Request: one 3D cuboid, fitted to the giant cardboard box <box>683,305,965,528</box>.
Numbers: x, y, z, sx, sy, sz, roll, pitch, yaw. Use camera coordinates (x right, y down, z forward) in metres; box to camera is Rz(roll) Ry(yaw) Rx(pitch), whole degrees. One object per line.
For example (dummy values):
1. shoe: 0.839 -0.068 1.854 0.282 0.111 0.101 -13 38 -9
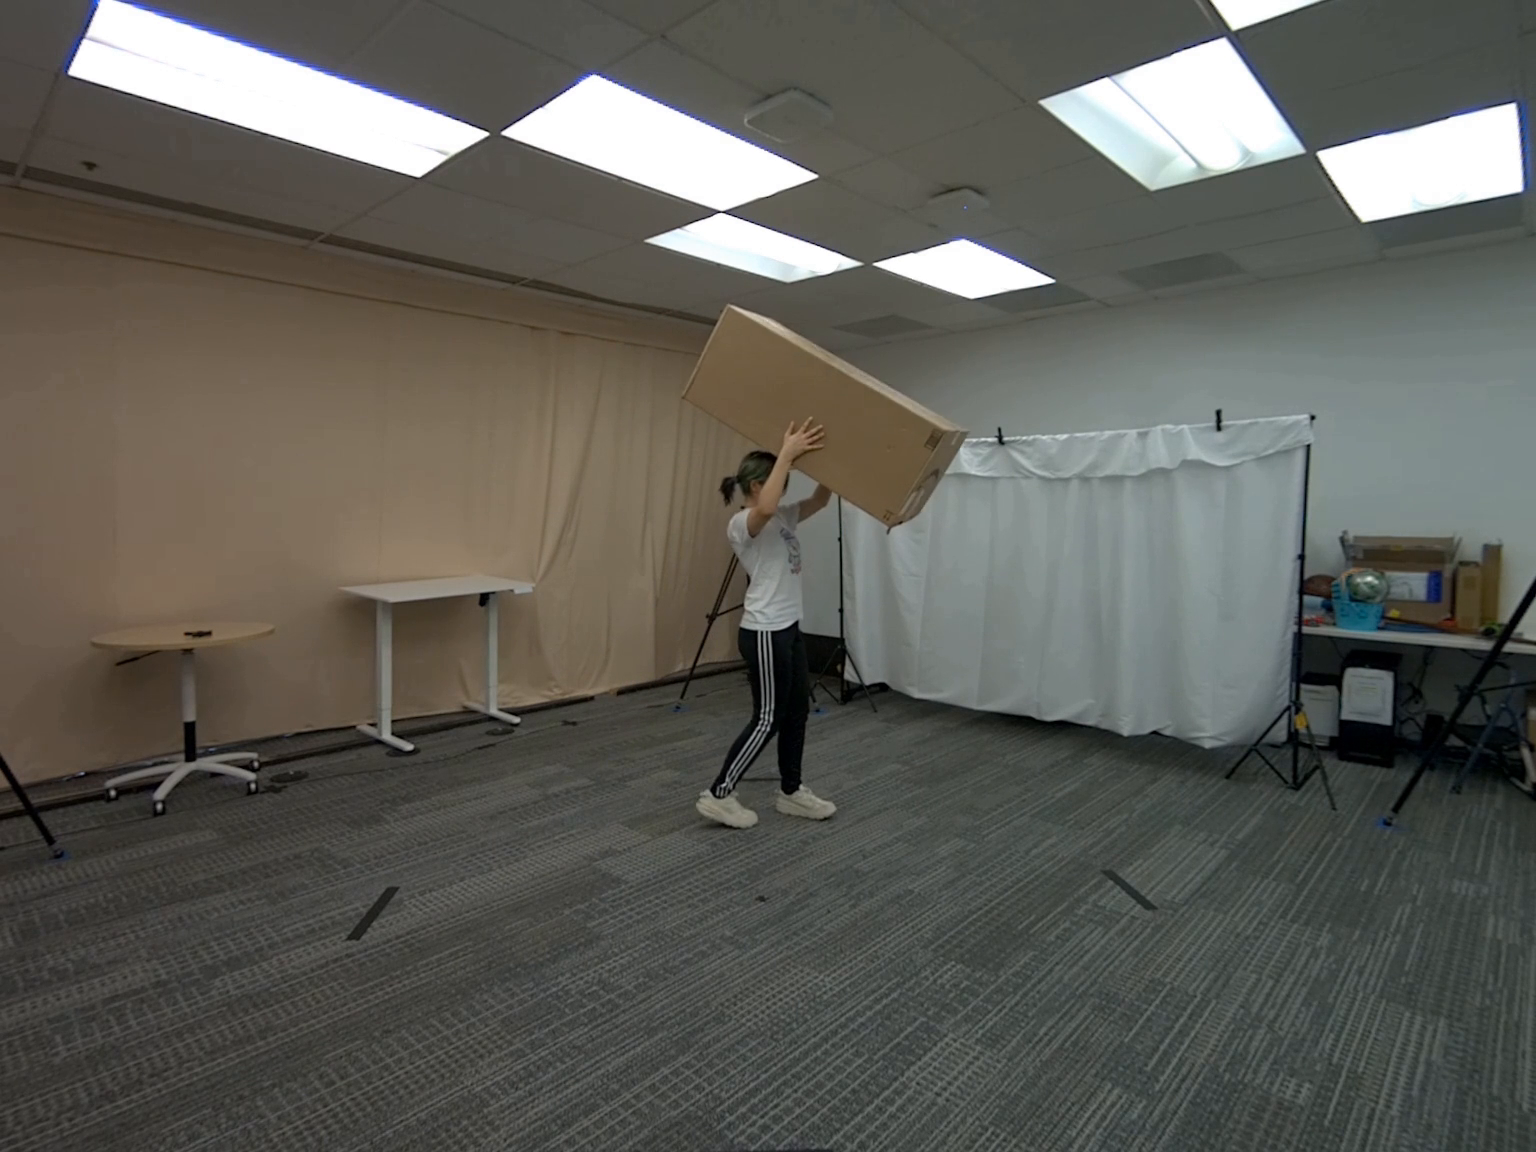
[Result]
1. giant cardboard box: 0.250 -0.668 3.547 1.047 0.446 0.573 35 18 15
